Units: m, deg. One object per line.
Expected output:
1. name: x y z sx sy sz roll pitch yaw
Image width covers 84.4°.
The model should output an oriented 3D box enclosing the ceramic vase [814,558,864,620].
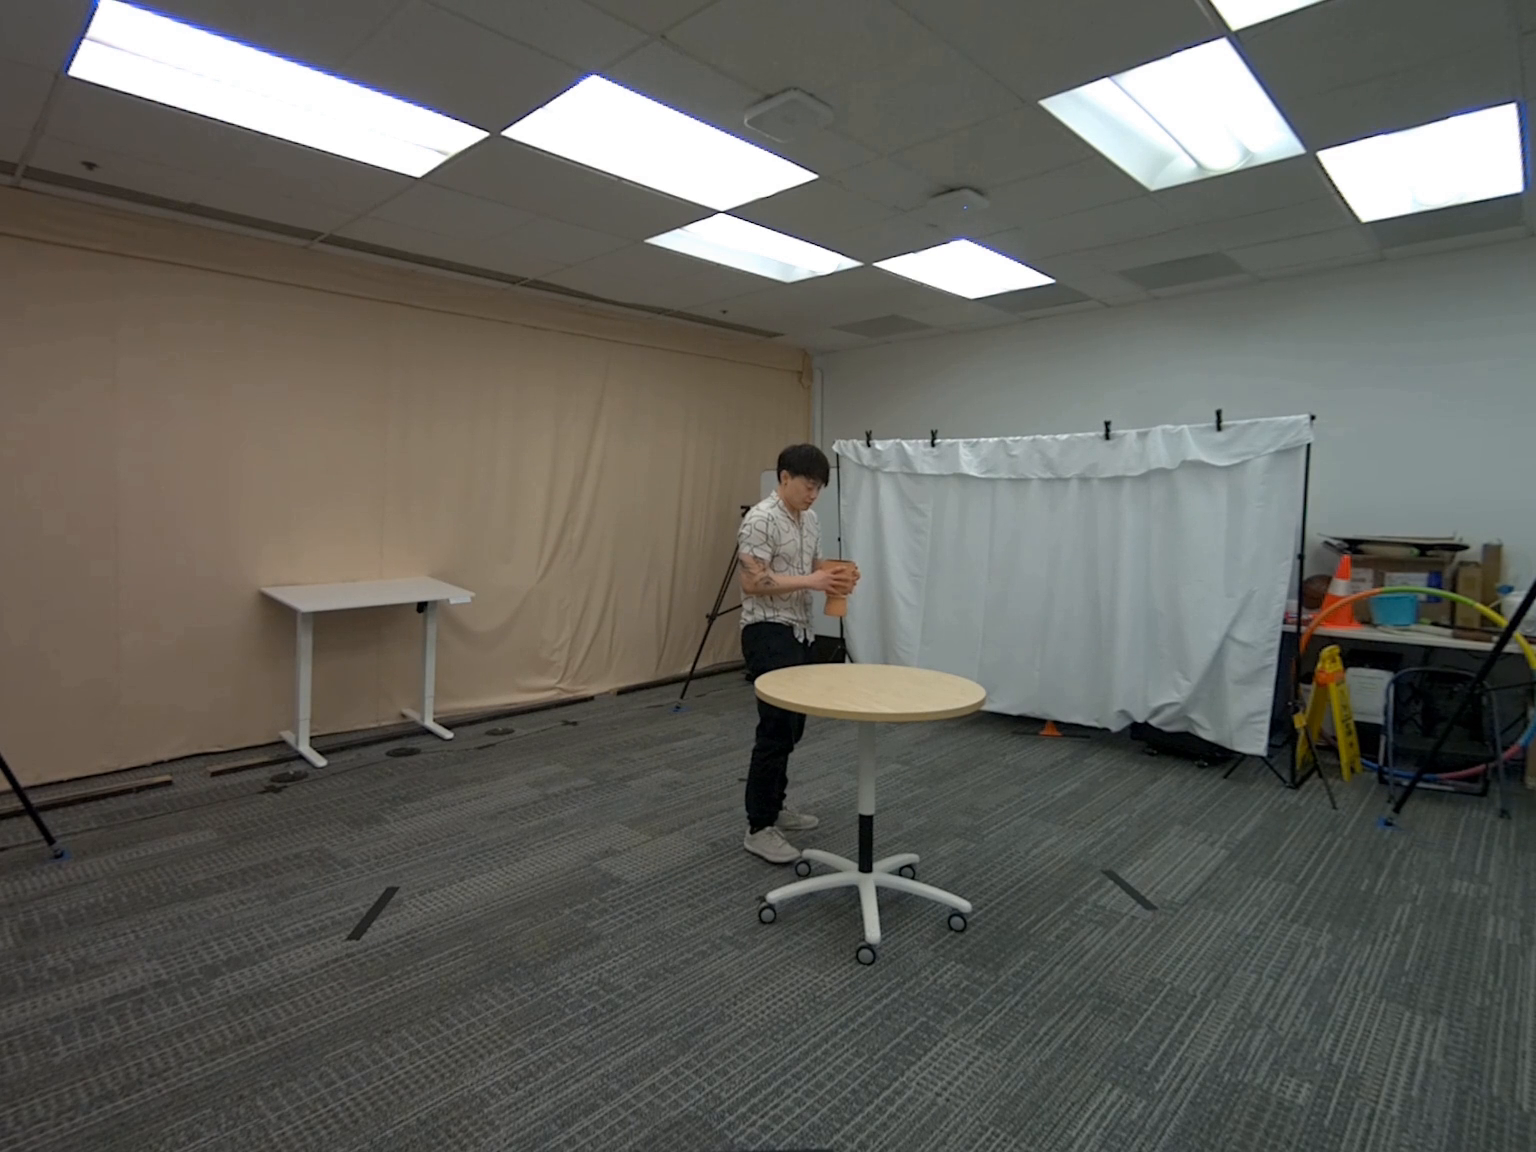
1. ceramic vase: 0.283 0.047 3.420 0.133 0.219 0.161 4 5 -11
